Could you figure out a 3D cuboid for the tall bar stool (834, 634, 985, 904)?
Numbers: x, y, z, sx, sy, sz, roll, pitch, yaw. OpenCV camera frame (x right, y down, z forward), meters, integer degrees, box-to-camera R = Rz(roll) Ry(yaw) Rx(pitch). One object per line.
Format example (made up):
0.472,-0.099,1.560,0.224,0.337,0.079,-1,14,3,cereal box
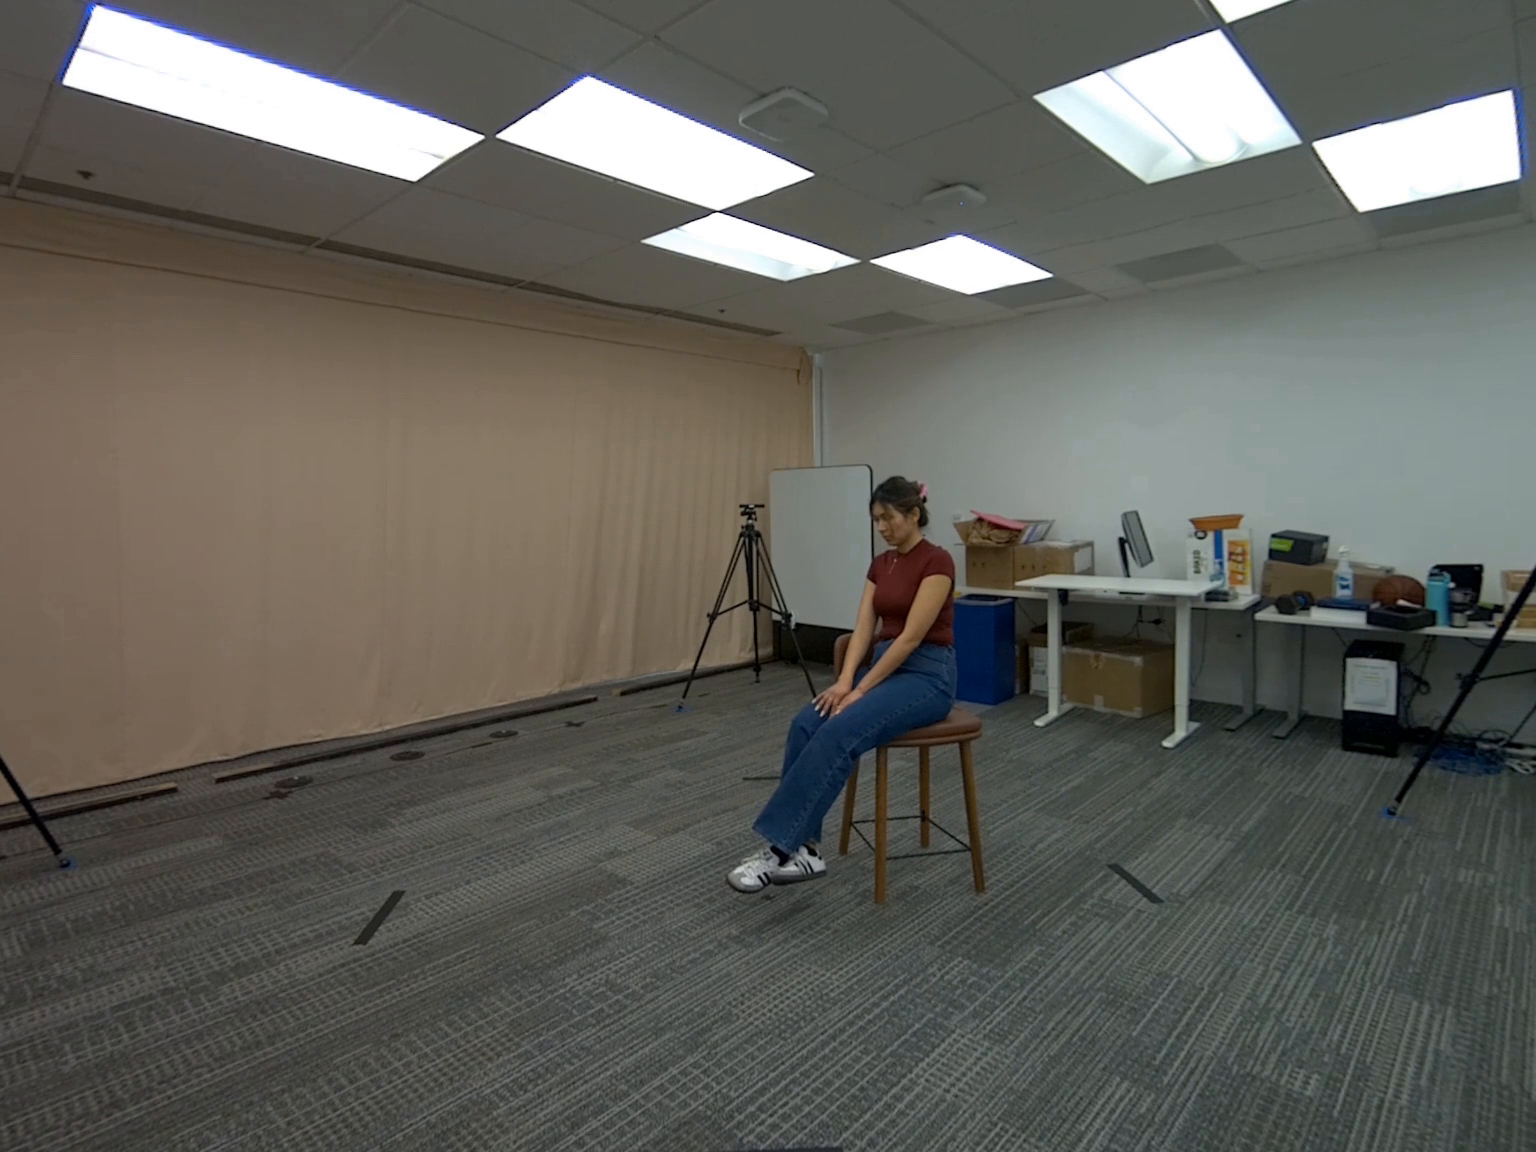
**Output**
0.522,0.683,3.160,0.450,0.889,0.475,-1,2,-14,tall bar stool
